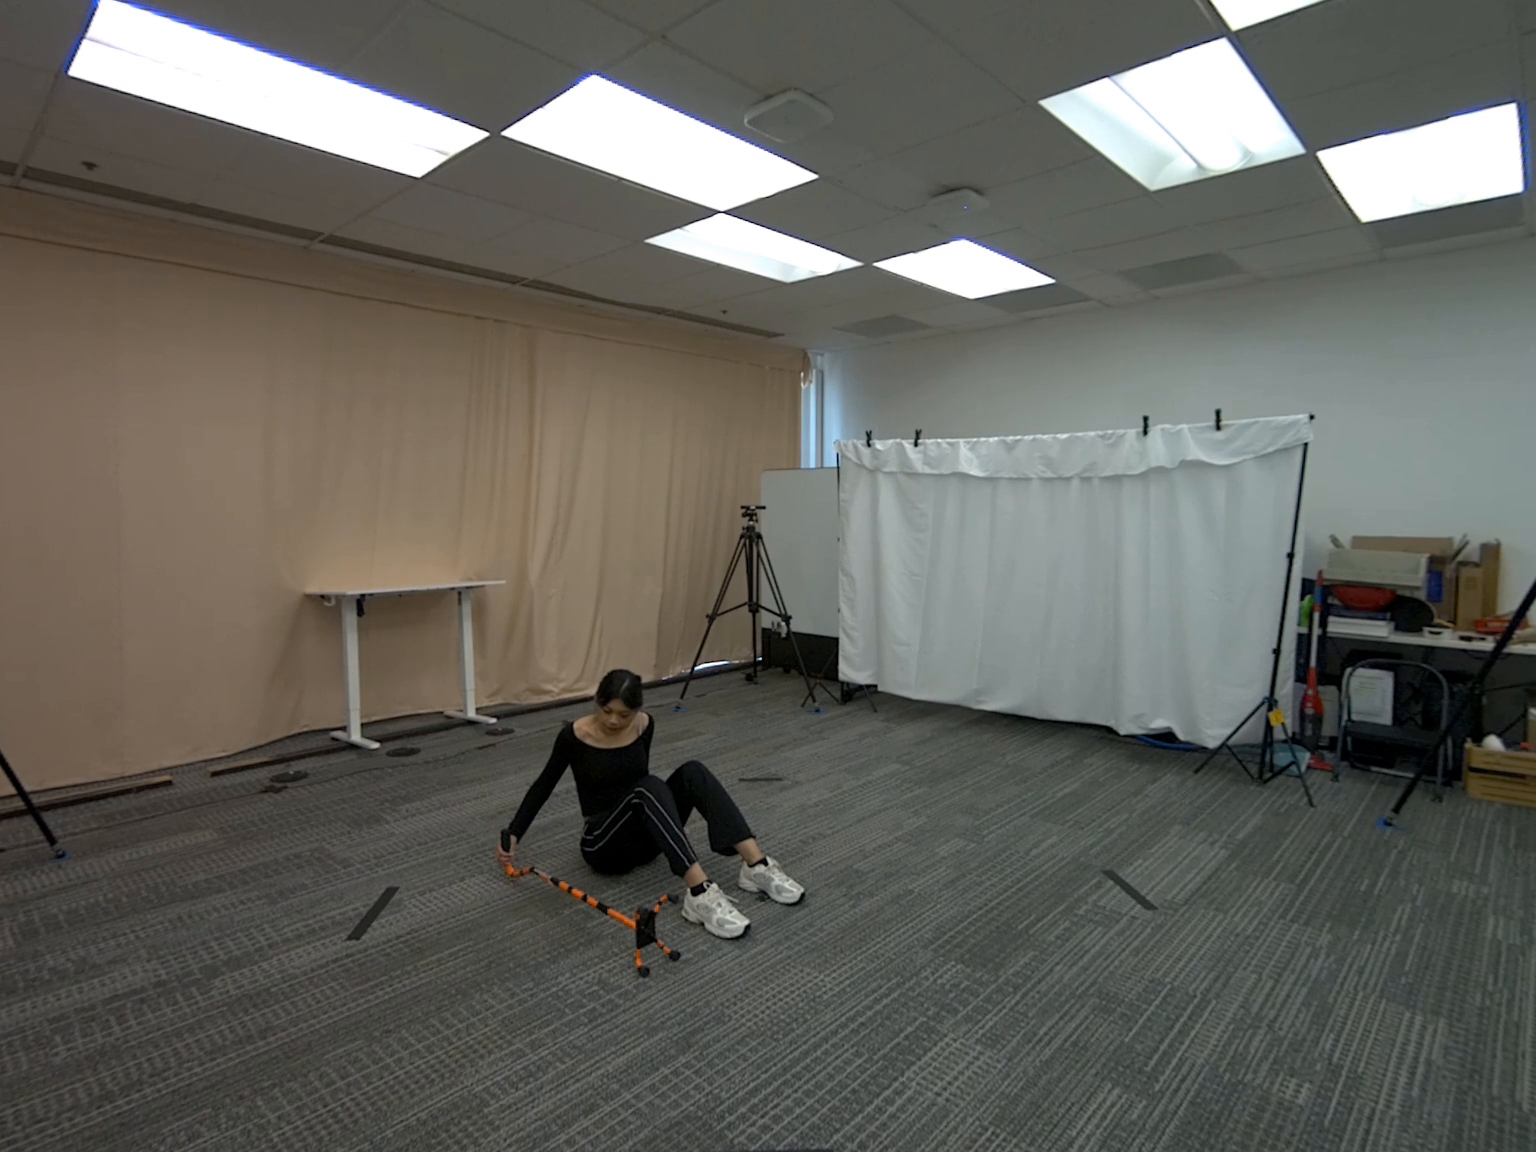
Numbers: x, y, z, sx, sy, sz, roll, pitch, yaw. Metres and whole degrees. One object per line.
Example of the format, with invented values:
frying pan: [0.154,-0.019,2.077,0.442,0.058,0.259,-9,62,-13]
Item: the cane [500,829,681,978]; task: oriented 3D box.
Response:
cane: [-0.652,1.050,2.855,0.938,0.206,0.147,3,6,45]
